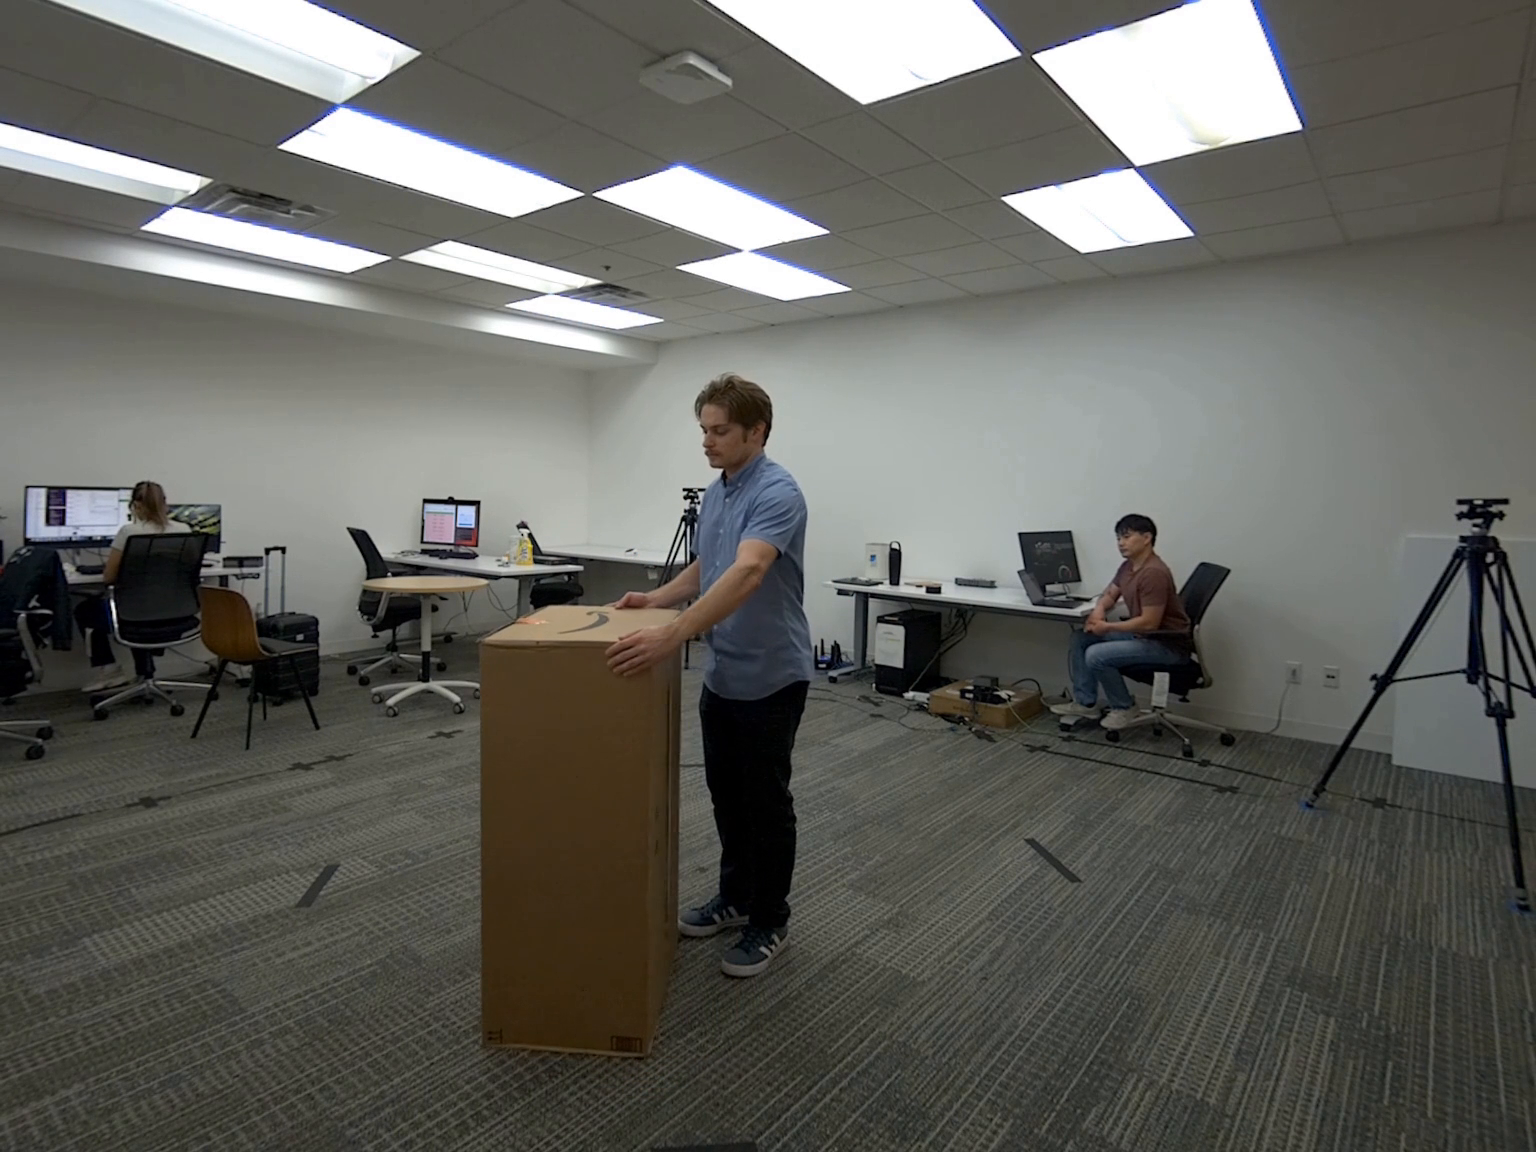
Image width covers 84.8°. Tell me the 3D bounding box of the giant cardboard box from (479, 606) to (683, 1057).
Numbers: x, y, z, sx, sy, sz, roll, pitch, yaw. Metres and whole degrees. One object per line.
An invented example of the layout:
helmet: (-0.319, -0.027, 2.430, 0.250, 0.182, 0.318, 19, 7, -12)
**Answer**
giant cardboard box: (-0.496, 0.634, 2.333, 0.428, 1.022, 0.577, 1, 4, 3)
